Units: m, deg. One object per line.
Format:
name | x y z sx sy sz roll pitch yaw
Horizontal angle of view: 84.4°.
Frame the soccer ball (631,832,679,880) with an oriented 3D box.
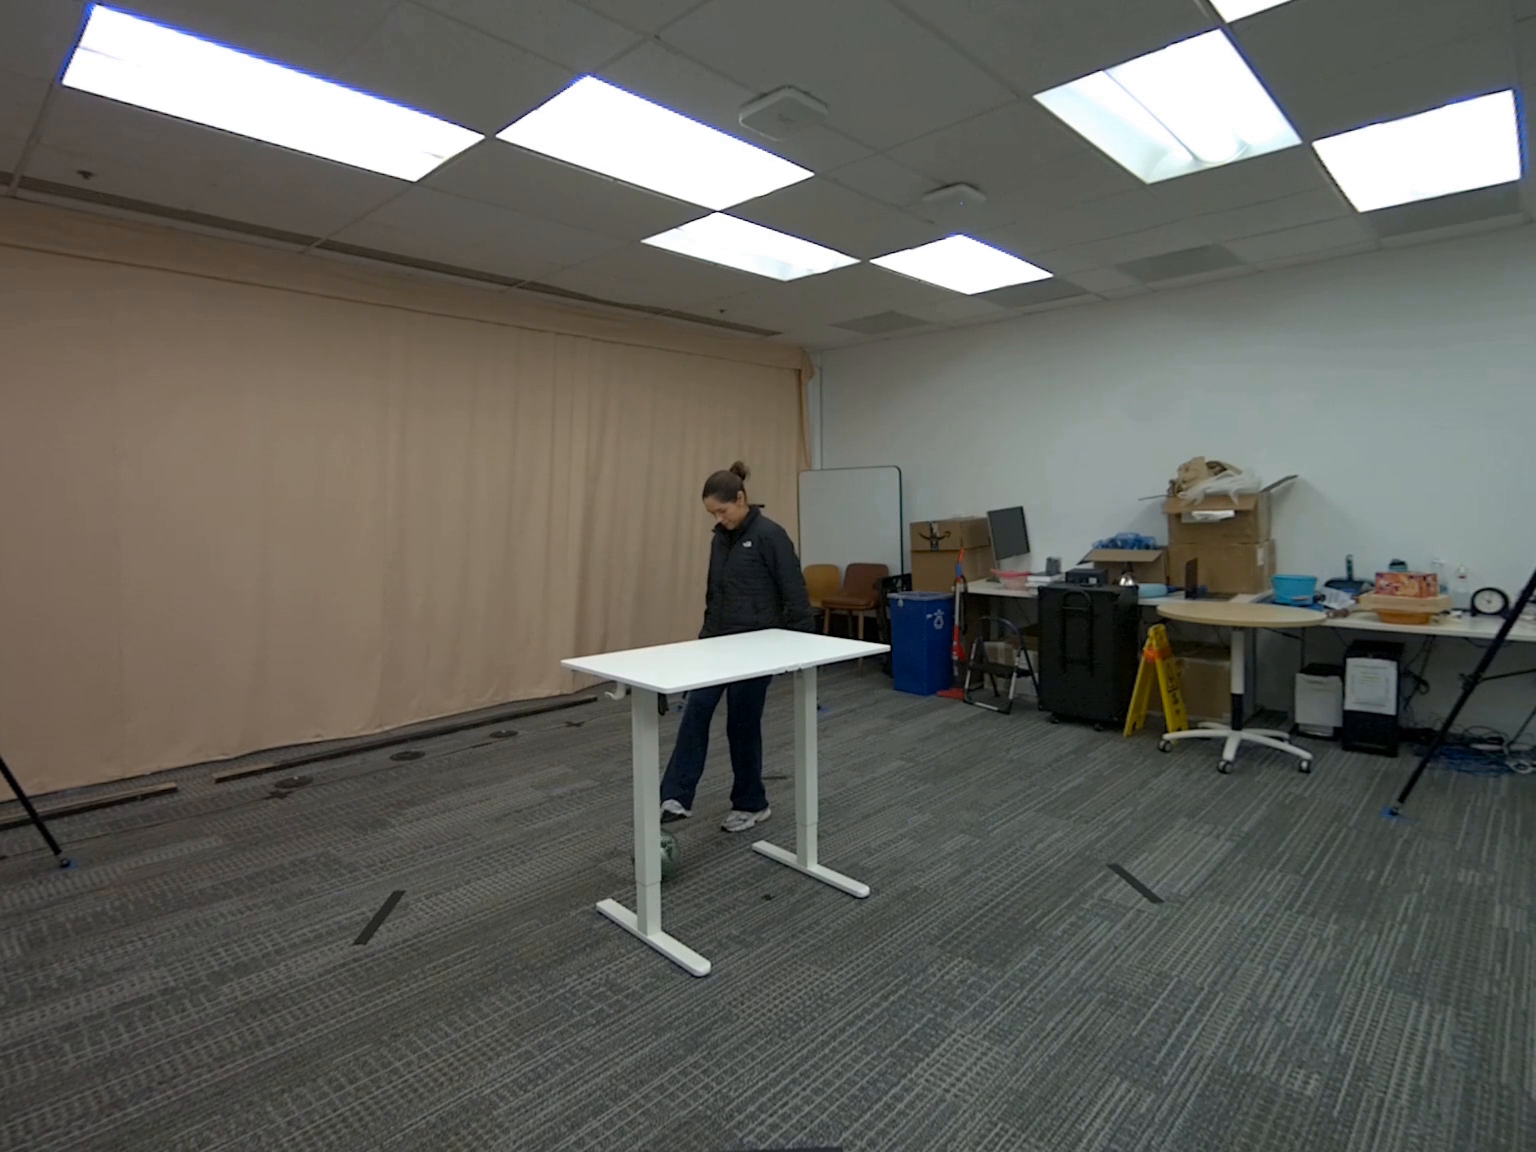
soccer ball | -0.423 1.041 3.159 0.187 0.187 0.188 -1 4 -2
